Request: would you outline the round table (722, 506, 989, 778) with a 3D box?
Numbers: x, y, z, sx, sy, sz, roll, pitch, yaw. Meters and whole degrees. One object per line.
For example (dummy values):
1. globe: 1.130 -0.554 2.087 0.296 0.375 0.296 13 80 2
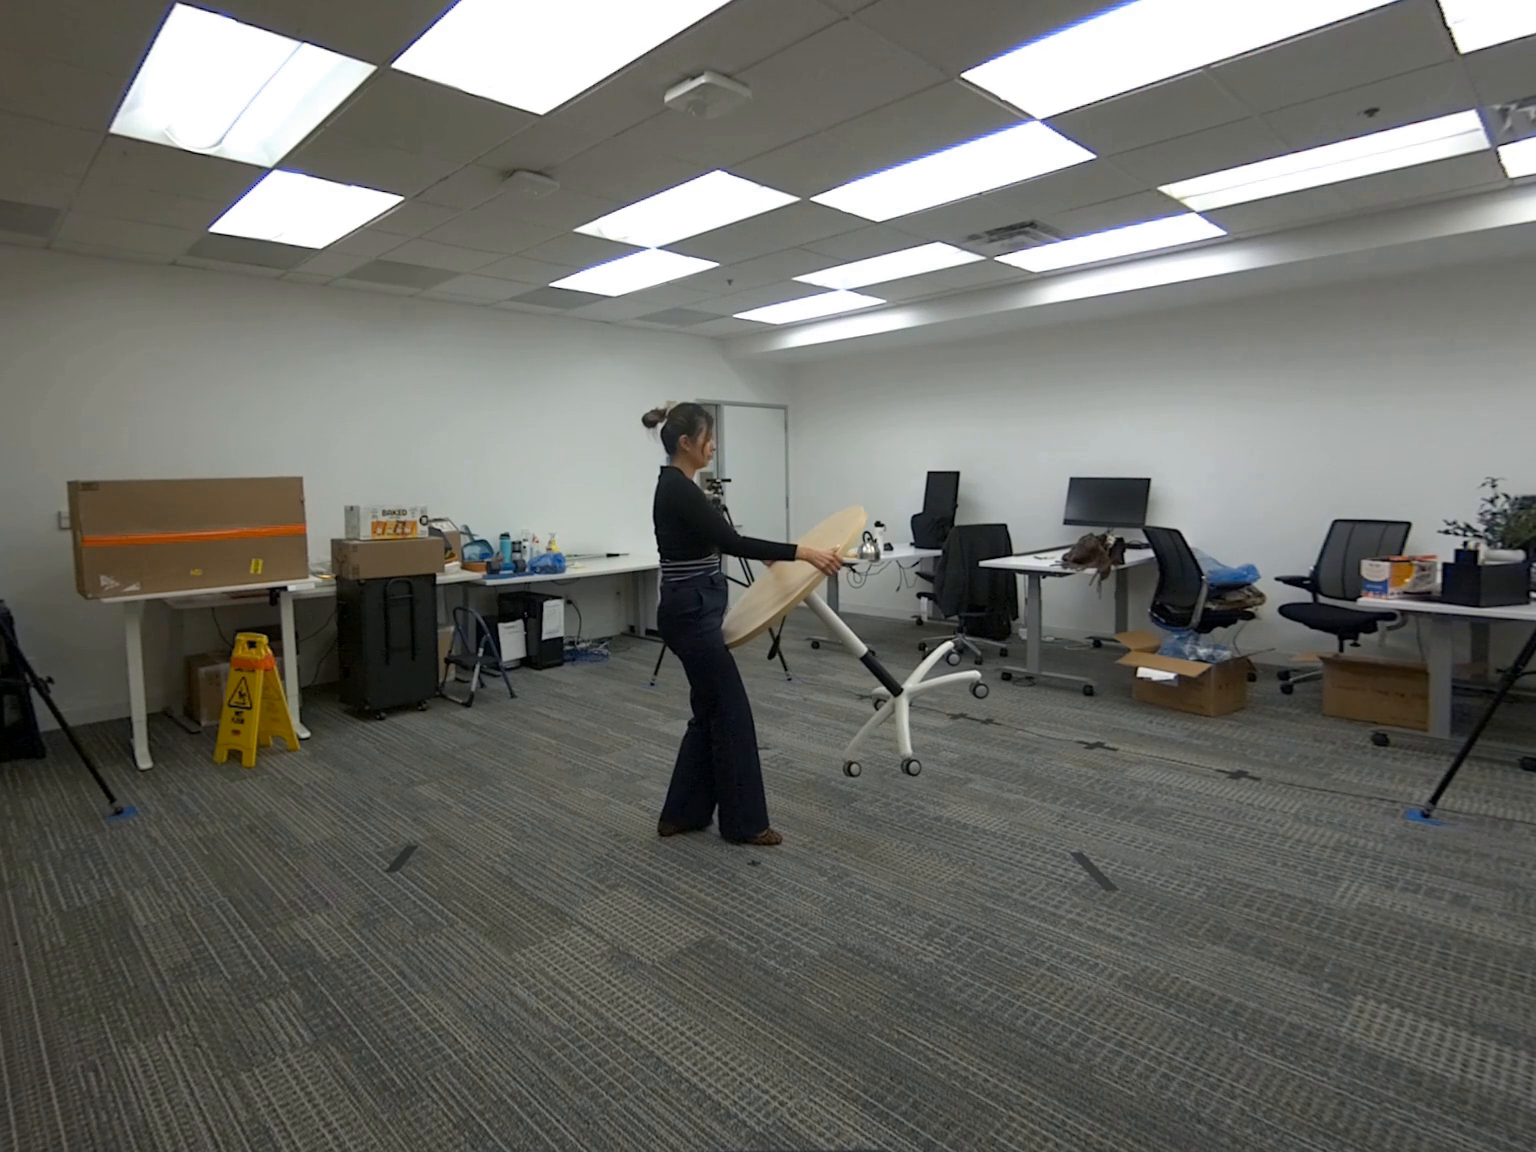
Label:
1. round table: 0.347 0.277 3.363 0.764 0.786 0.772 -41 9 6
